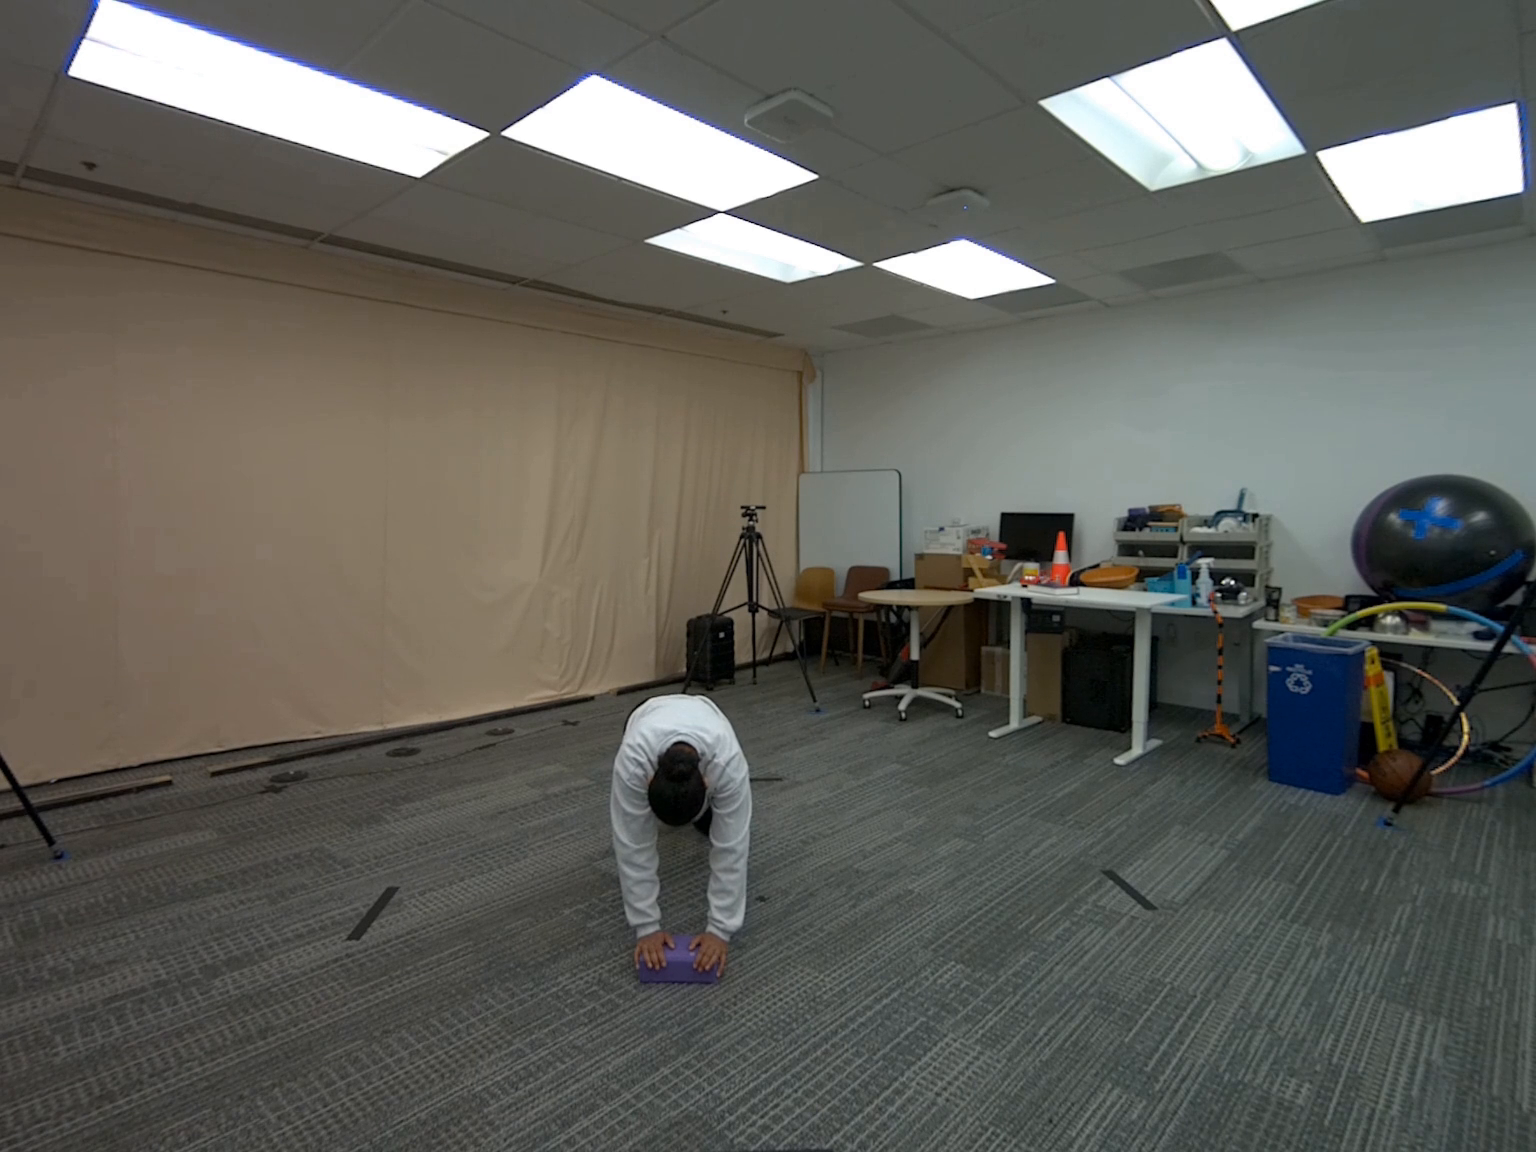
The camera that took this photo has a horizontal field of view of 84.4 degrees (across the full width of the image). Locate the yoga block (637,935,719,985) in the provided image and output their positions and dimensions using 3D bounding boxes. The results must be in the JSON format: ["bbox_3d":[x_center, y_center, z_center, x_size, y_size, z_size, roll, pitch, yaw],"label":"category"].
[{"bbox_3d":[-0.270,1.136,2.528,0.229,0.076,0.149,2,6,0],"label":"yoga block"}]
